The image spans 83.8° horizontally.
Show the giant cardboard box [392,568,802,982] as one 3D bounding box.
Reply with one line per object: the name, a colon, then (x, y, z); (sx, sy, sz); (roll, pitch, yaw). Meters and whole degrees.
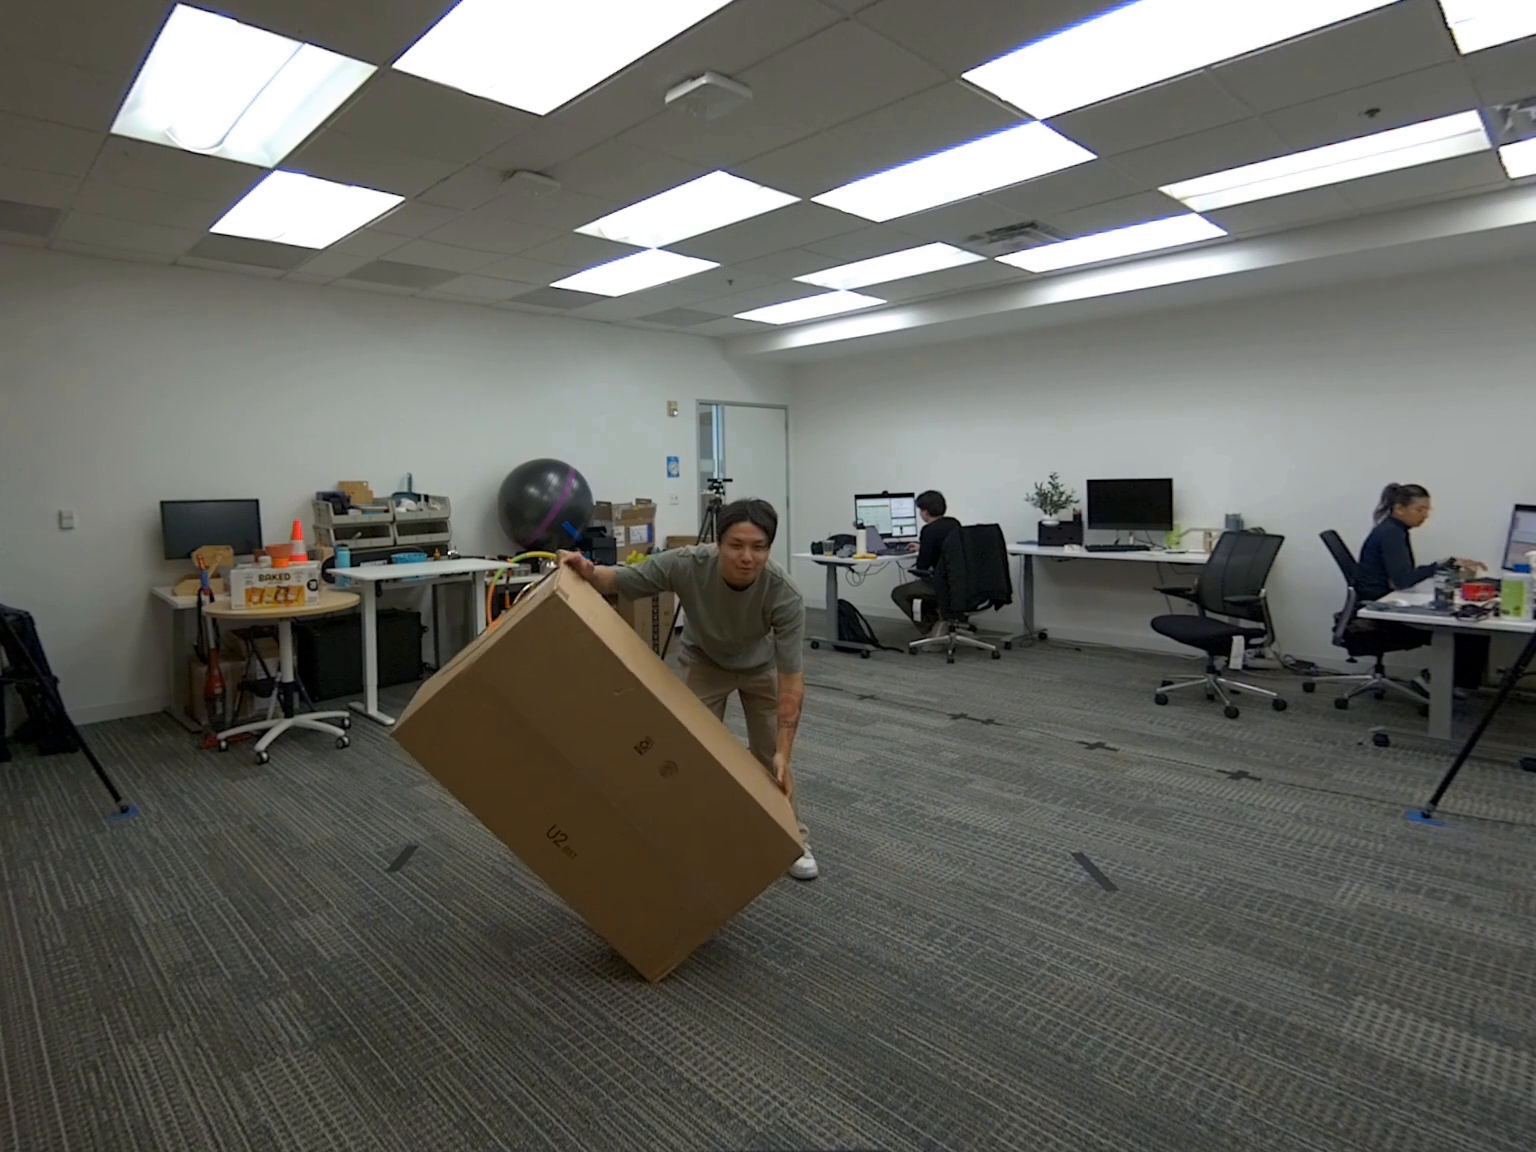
giant cardboard box: (-0.469, 0.548, 2.489); (0.577, 1.011, 0.432); (-42, 11, 1)
